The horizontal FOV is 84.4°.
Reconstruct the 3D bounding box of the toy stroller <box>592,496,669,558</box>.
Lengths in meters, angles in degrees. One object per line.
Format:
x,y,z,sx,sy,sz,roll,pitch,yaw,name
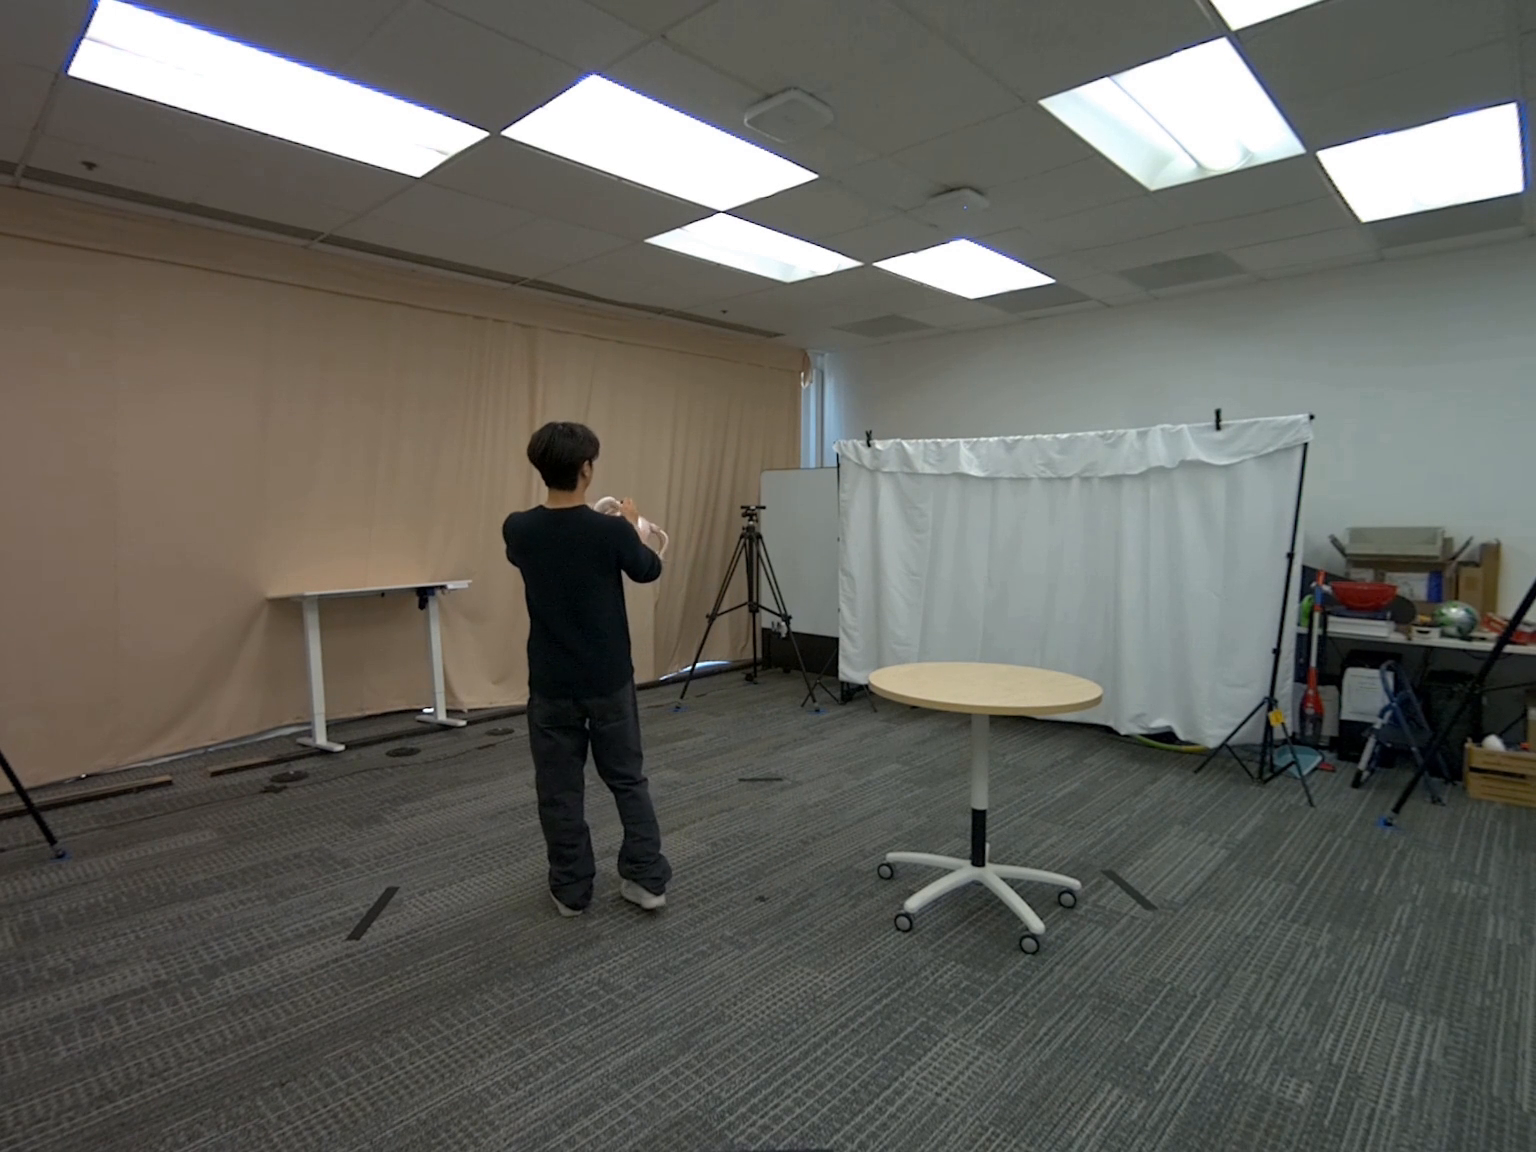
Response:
-0.576,-0.140,3.492,0.340,0.281,0.538,32,-5,-5,toy stroller
